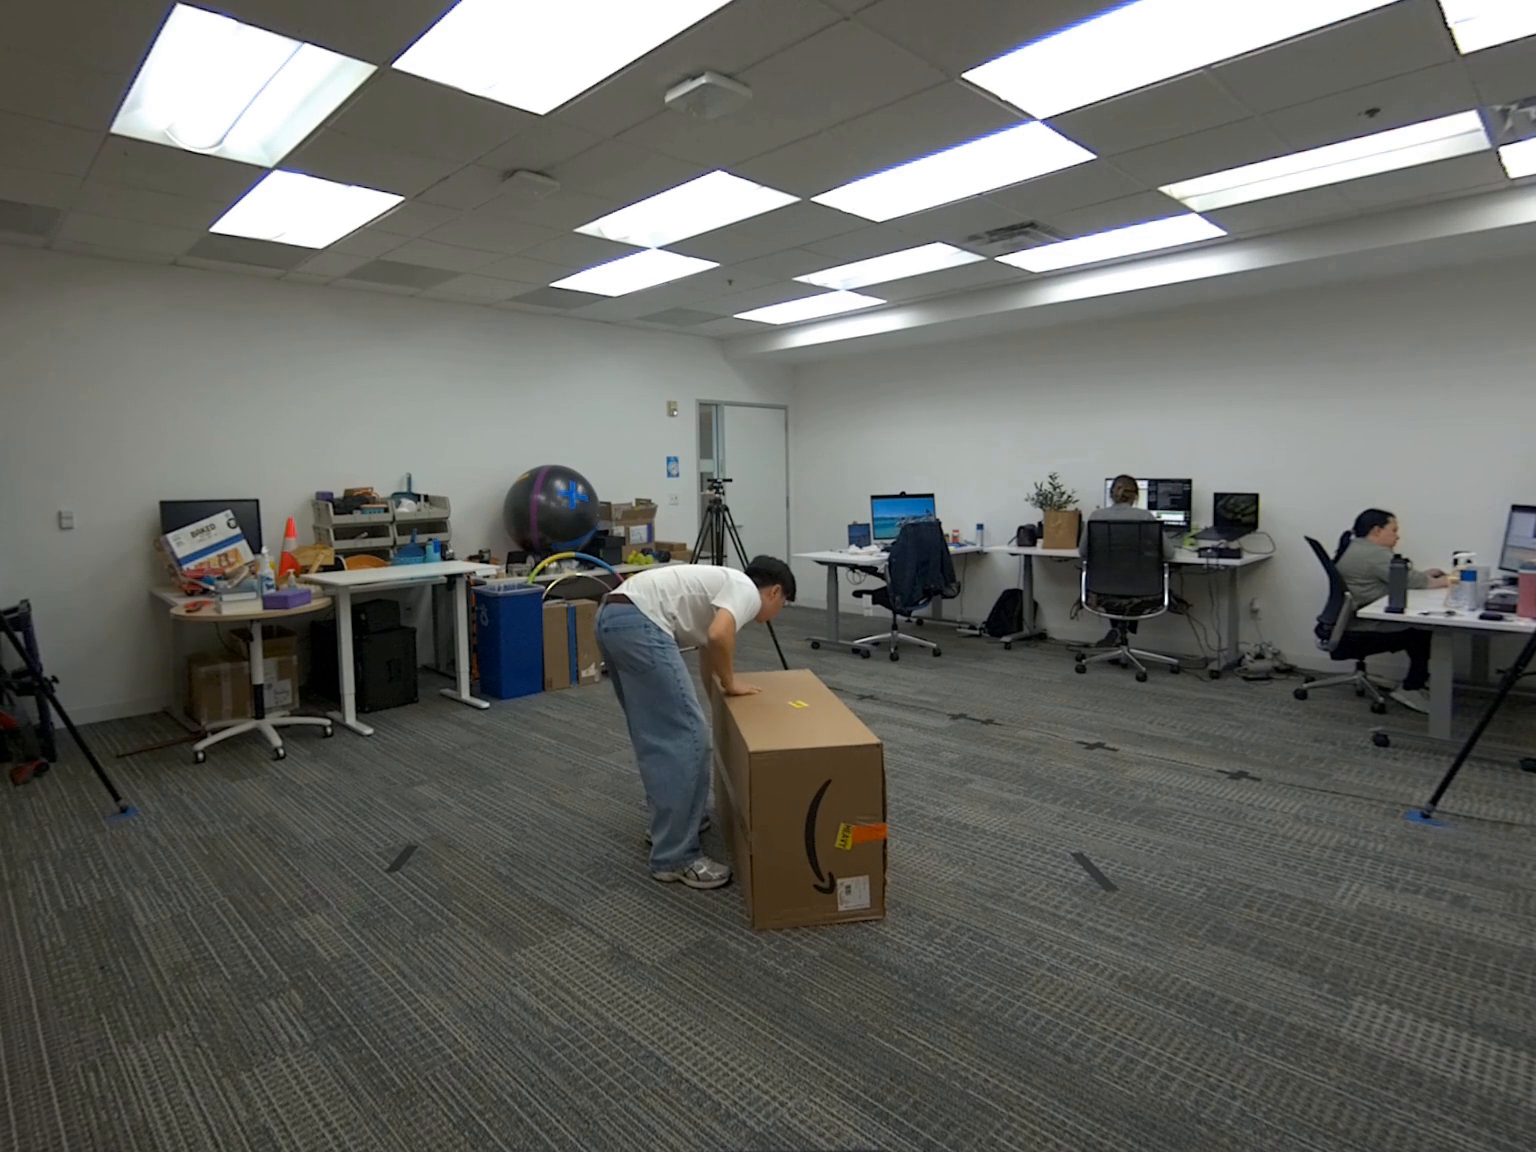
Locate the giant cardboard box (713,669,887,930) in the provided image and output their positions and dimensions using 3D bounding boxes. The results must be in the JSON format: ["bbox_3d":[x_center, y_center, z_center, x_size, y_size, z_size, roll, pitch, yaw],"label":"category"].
[{"bbox_3d":[0.076,0.749,3.151,0.423,0.575,1.039,-3,6,-9],"label":"giant cardboard box"}]
